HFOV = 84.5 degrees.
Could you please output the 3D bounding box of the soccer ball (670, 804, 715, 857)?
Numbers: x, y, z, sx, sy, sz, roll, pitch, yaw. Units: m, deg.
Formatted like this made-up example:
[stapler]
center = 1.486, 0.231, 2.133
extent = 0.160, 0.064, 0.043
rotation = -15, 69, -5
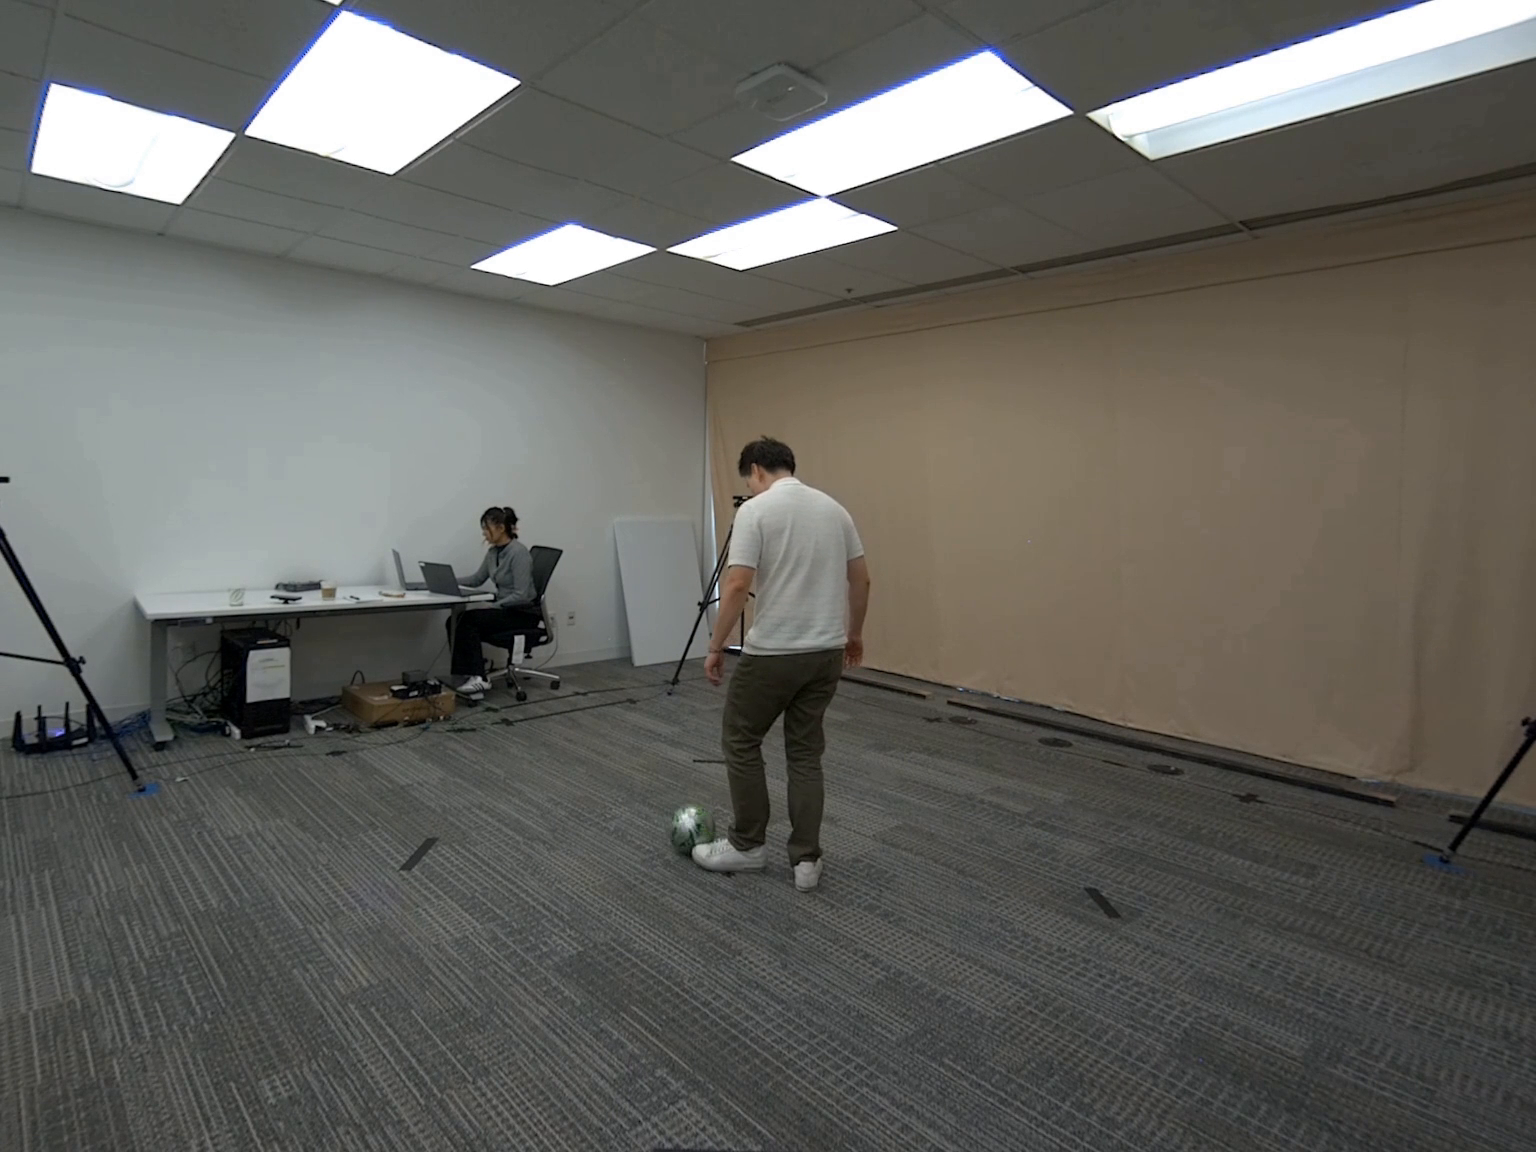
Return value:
[soccer ball]
center = -0.307, 0.984, 3.285
extent = 0.187, 0.187, 0.188
rotation = 1, 4, -1
